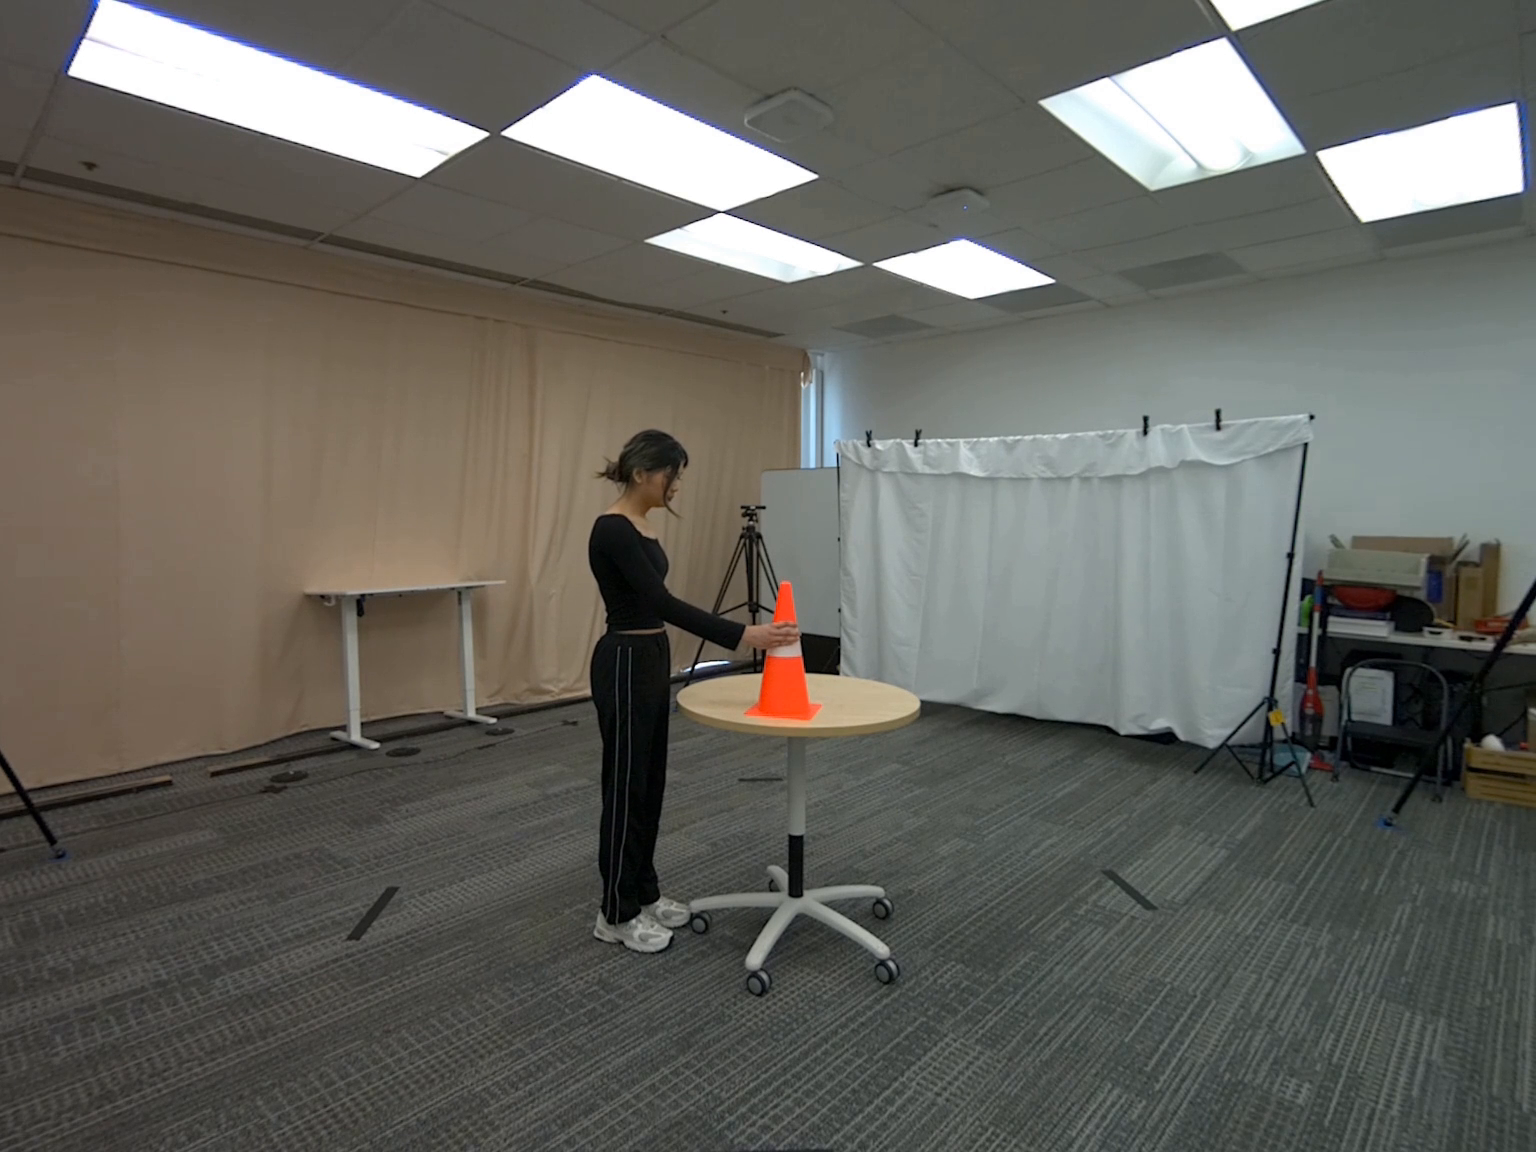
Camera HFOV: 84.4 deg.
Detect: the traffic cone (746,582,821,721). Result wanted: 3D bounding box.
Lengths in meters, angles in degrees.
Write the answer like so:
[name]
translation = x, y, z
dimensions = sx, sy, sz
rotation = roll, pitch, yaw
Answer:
[traffic cone]
translation = 0.048, 0.211, 2.494
dimensions = 0.207, 0.383, 0.201
rotation = 0, 1, 19
